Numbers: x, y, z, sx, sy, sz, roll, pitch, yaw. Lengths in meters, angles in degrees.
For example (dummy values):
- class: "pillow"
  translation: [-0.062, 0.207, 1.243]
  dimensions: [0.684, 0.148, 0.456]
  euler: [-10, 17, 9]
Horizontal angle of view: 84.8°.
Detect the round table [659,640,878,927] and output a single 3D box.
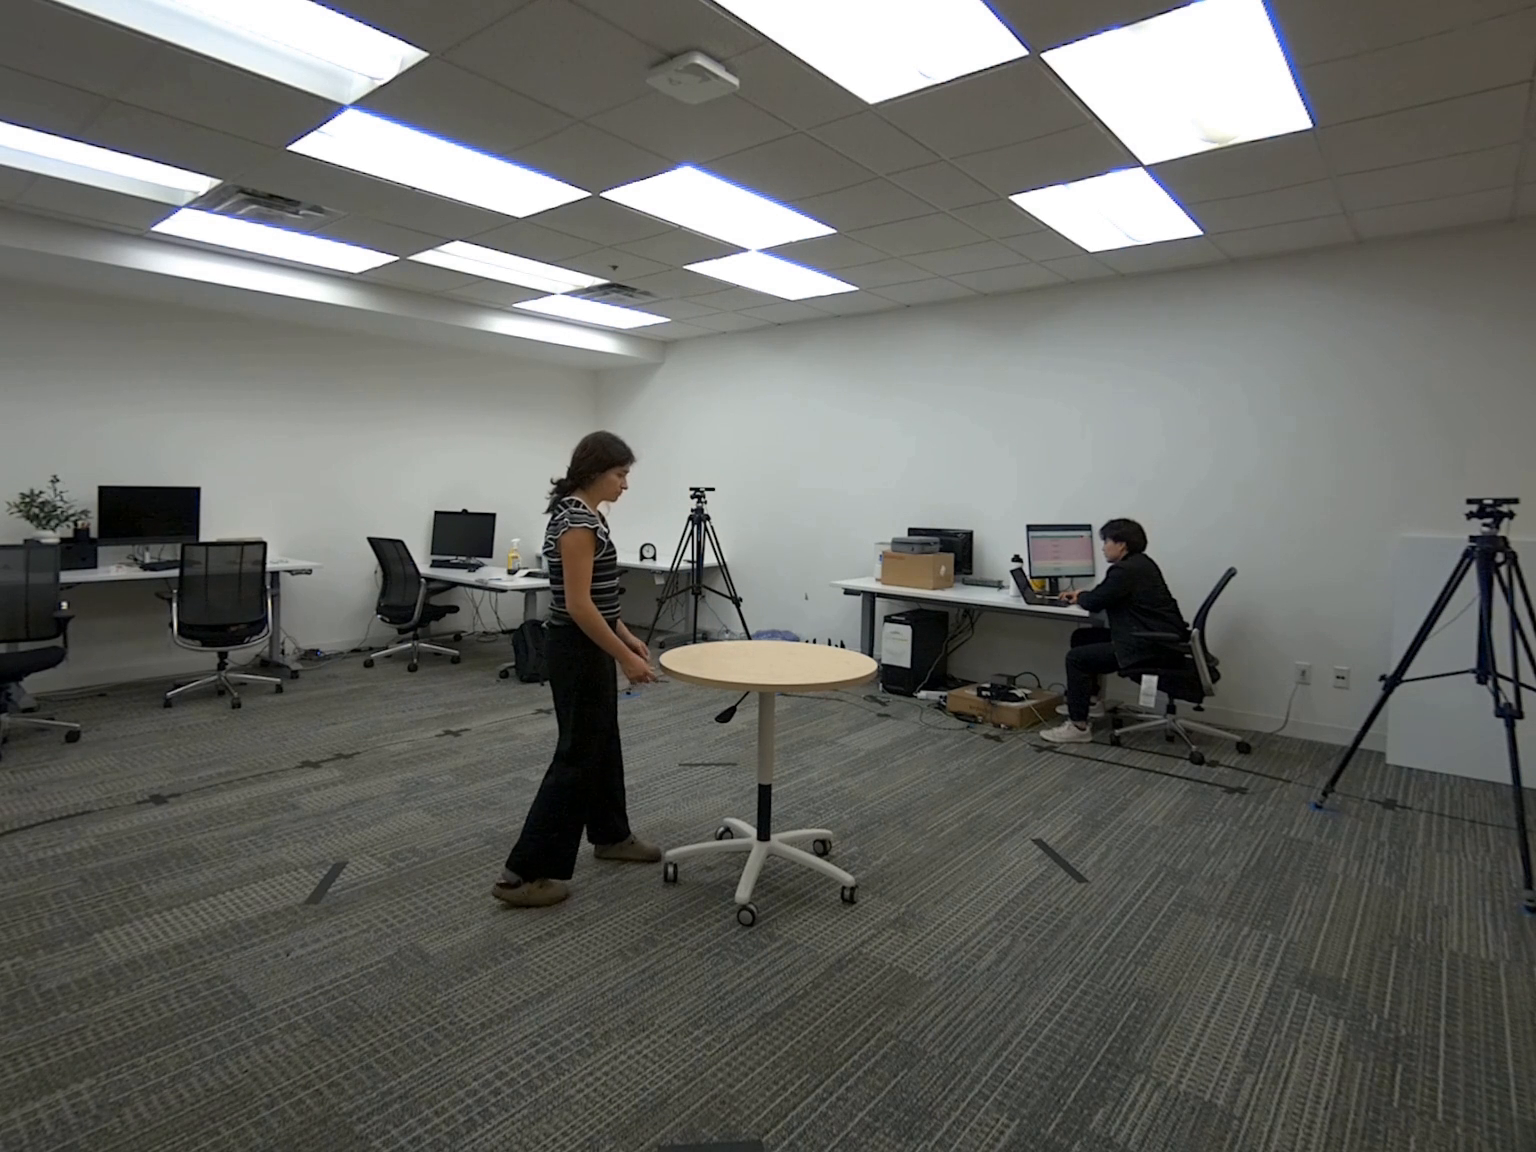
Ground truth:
- class: "round table"
  translation: [-0.021, 0.686, 3.036]
  dimensions: [0.784, 0.784, 0.789]
  euler: [1, 5, -2]
